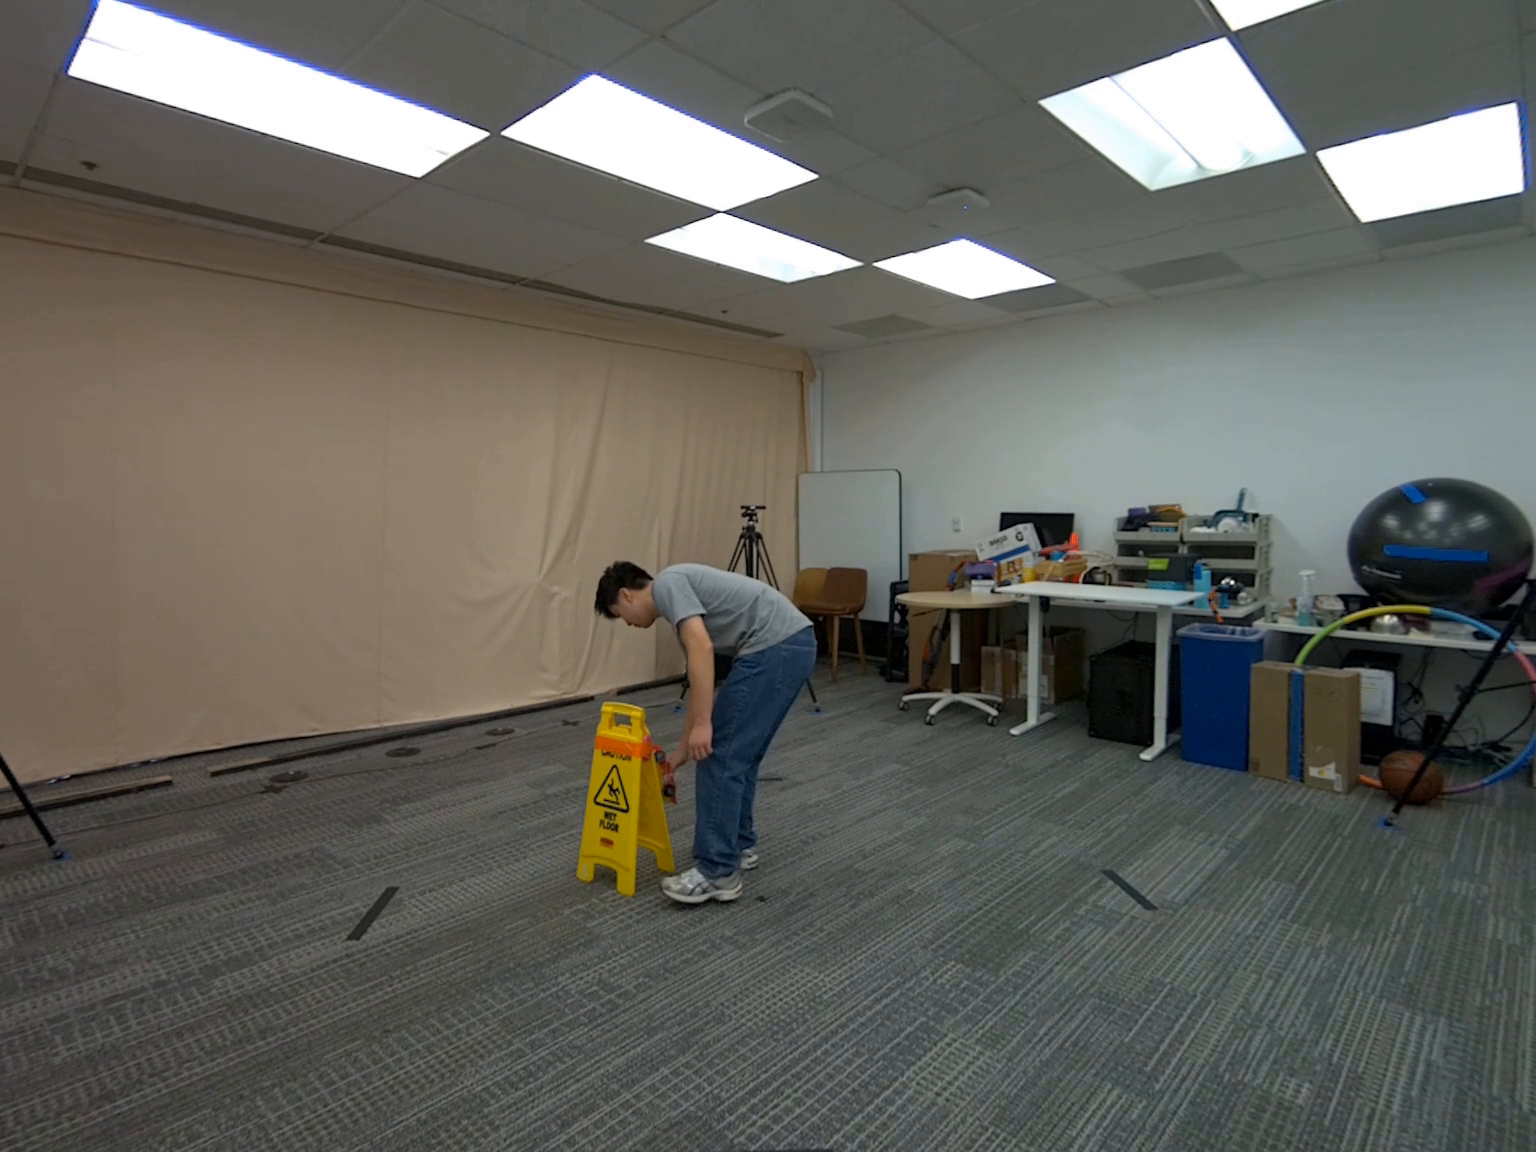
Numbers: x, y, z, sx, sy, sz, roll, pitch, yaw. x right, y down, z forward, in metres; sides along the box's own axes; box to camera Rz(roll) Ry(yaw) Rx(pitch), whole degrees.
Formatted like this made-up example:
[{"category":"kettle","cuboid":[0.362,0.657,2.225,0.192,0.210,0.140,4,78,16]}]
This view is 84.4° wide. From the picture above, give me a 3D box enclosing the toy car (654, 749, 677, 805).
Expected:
[{"category":"toy car","cuboid":[-0.422,0.800,3.324,0.134,0.250,0.082,-4,24,45]}]
